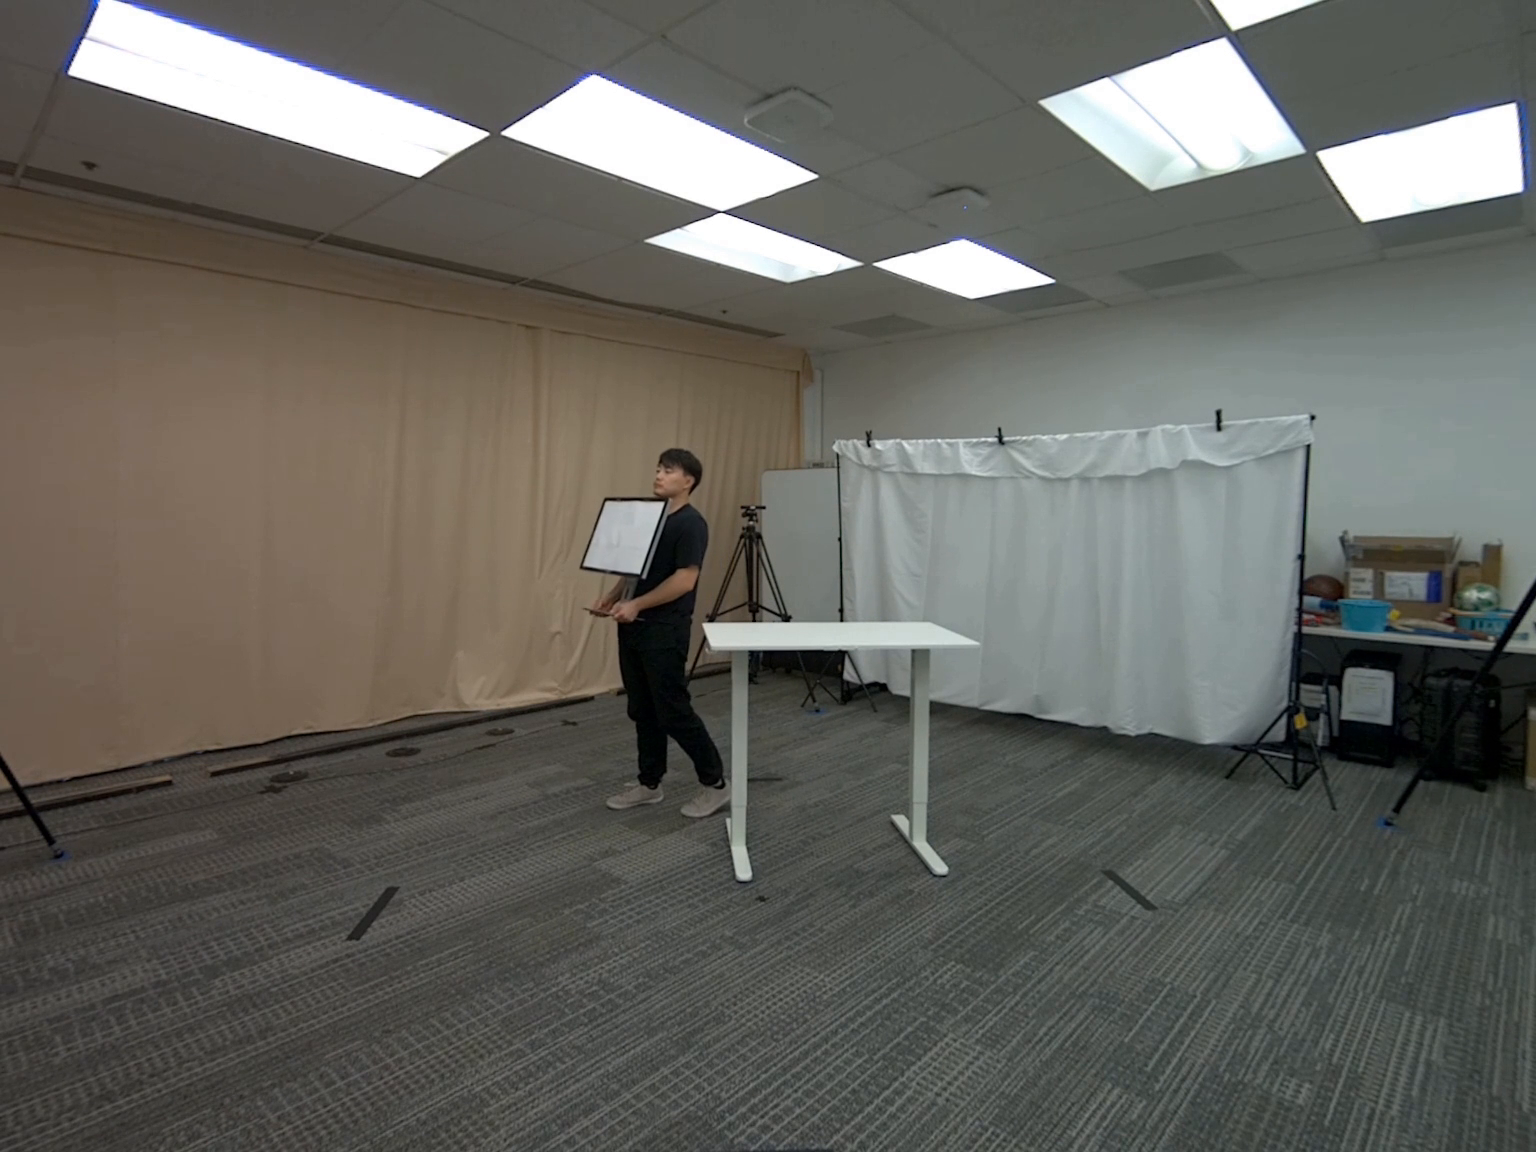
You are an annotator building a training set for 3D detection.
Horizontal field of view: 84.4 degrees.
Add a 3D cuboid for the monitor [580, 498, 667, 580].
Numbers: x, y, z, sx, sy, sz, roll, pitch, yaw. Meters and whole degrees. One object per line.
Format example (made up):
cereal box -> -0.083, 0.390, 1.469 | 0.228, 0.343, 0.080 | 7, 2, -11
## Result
monitor -> -0.629, -0.083, 3.771 | 0.181, 0.523, 0.557 | 10, -3, -40
